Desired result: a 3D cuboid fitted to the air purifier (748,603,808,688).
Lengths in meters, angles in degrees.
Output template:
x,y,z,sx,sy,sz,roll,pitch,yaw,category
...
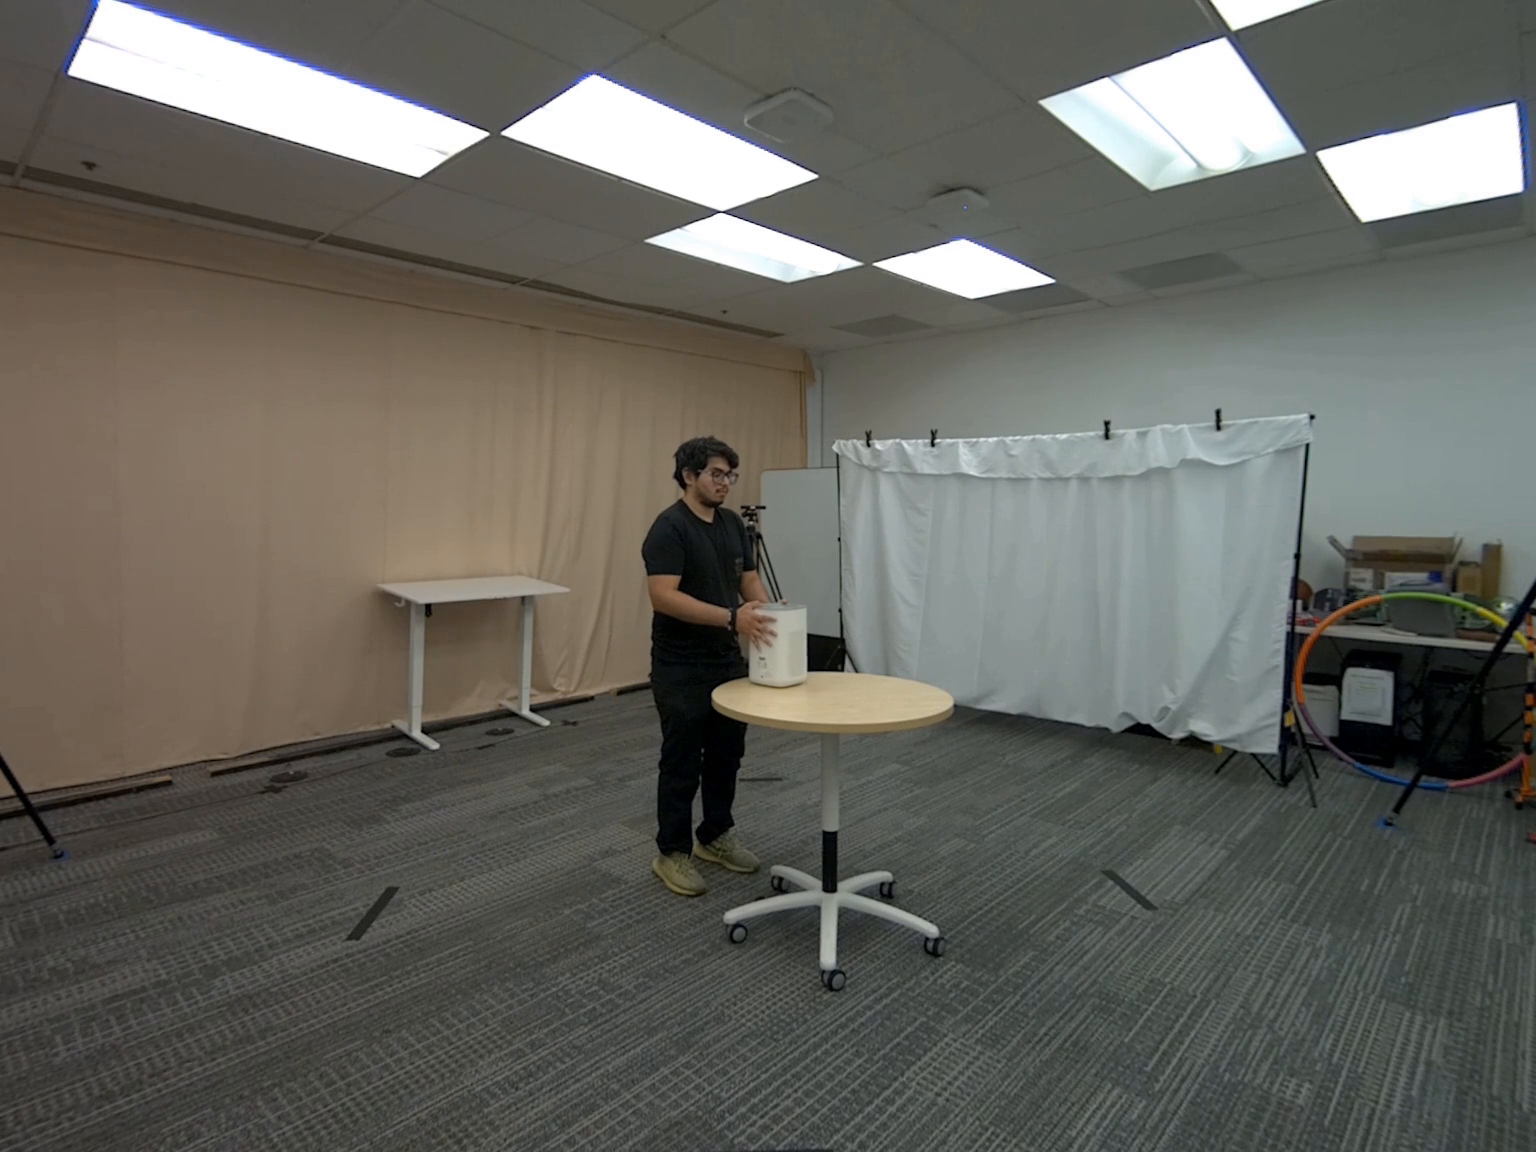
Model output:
x,y,z,sx,sy,sz,roll,pitch,yaw,category
0.036,0.235,2.879,0.176,0.265,0.166,1,4,40,air purifier
